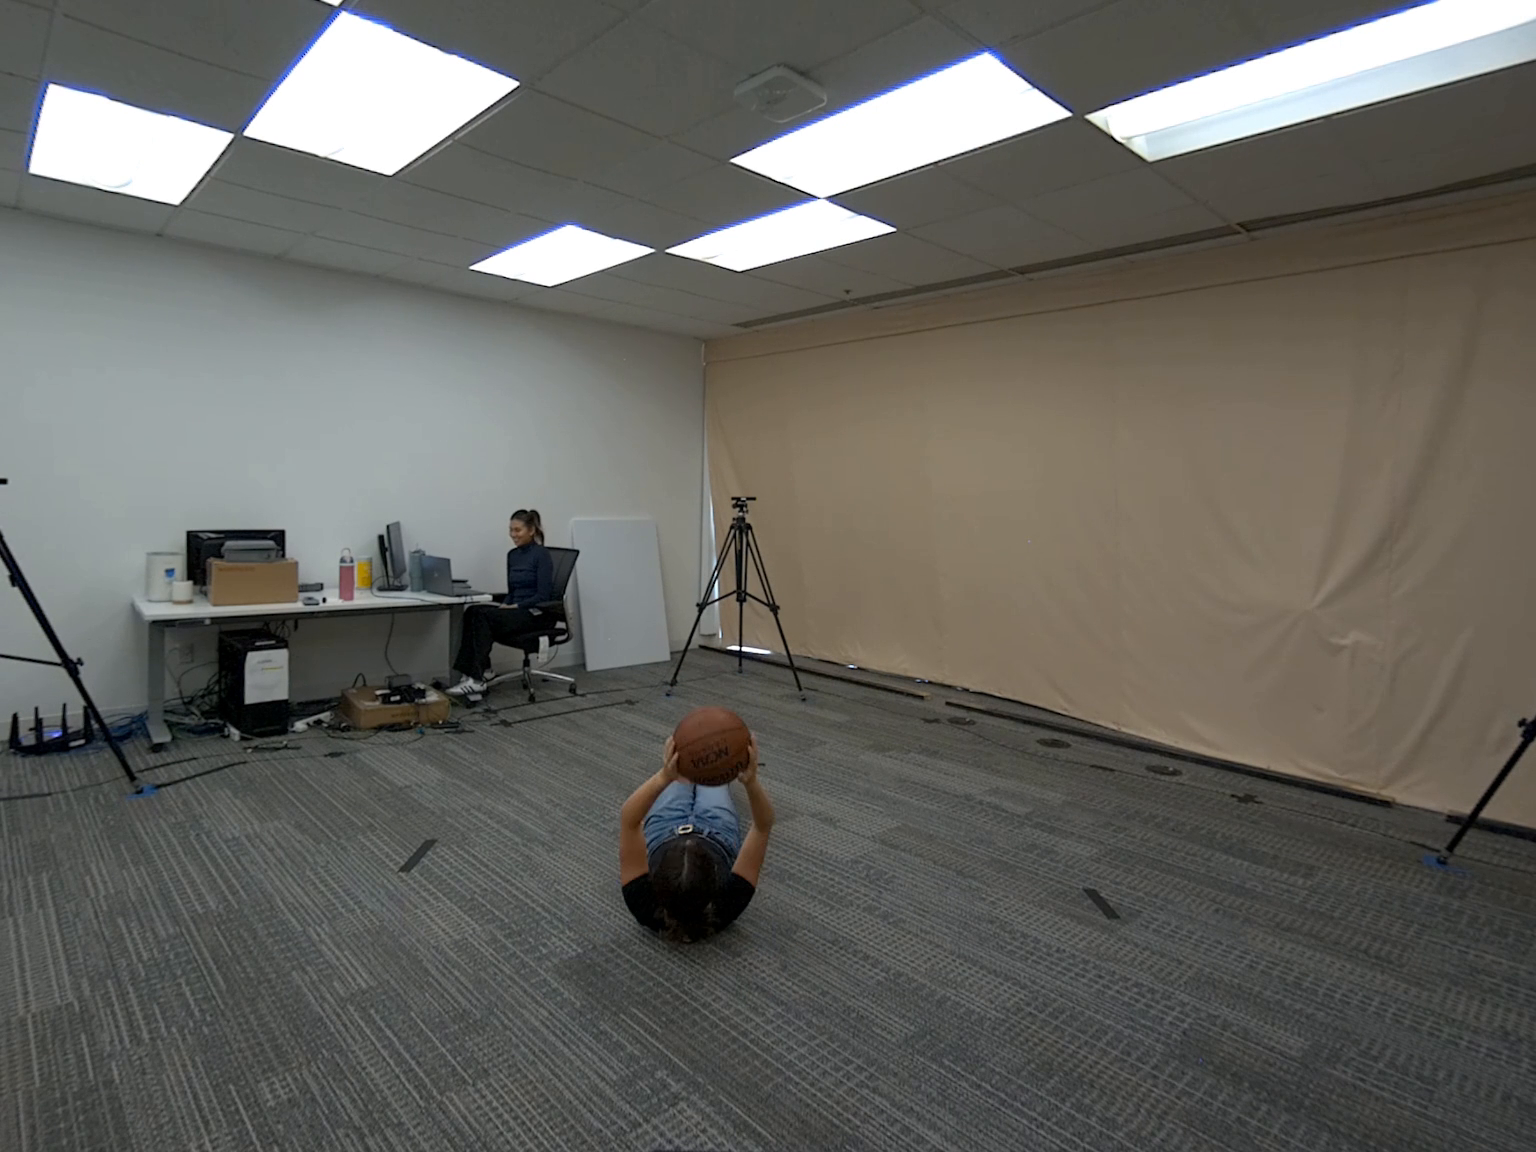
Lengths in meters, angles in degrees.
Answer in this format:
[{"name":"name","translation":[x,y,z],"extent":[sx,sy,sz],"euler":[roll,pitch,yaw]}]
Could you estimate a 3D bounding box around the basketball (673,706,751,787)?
[{"name":"basketball","translation":[-0.173,0.522,2.508],"extent":[0.236,0.235,0.237],"euler":[1,4,-1]}]
